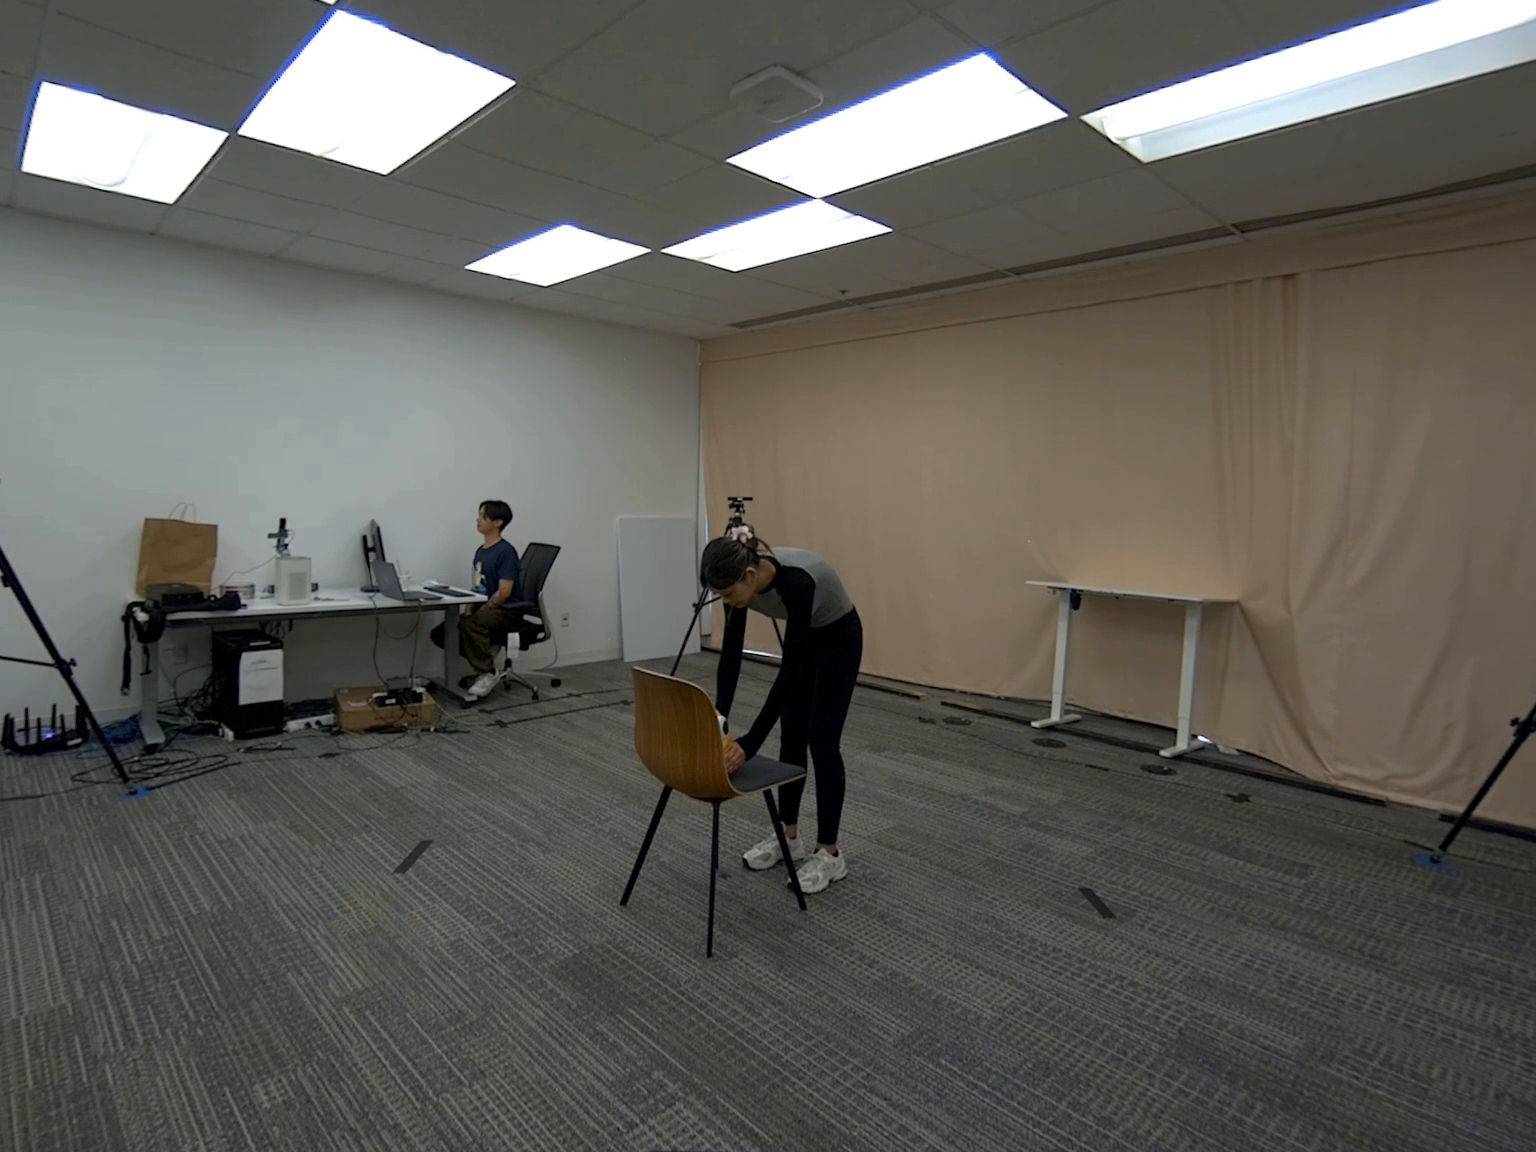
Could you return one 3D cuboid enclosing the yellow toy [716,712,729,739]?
[{"bbox_3d":[-0.202,0.513,2.796,0.189,0.229,0.210,-12,14,-40],"label":"yellow toy"}]
